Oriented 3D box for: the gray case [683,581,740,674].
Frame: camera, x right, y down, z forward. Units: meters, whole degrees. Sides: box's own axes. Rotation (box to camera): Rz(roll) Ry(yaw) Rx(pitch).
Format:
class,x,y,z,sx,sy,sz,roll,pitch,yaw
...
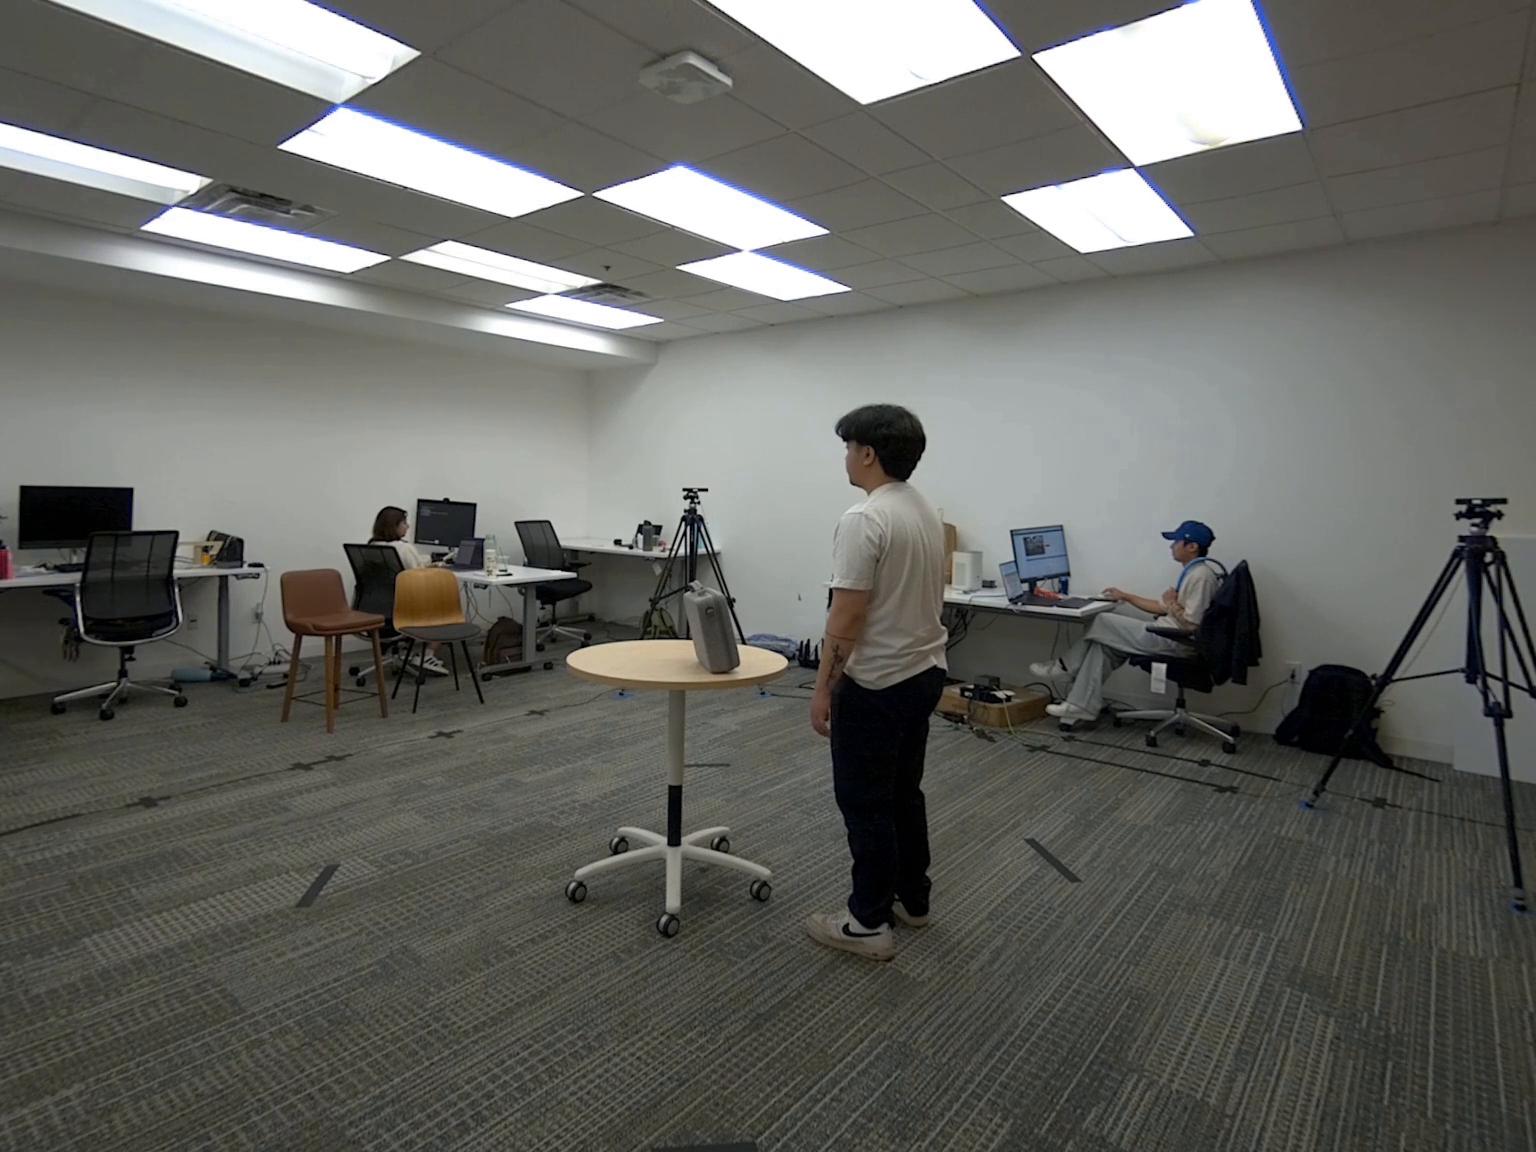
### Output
class,x,y,z,sx,sy,sz,roll,pitch,yaw
gray case,-0.199,0.167,2.805,0.103,0.259,0.261,-13,7,-14
